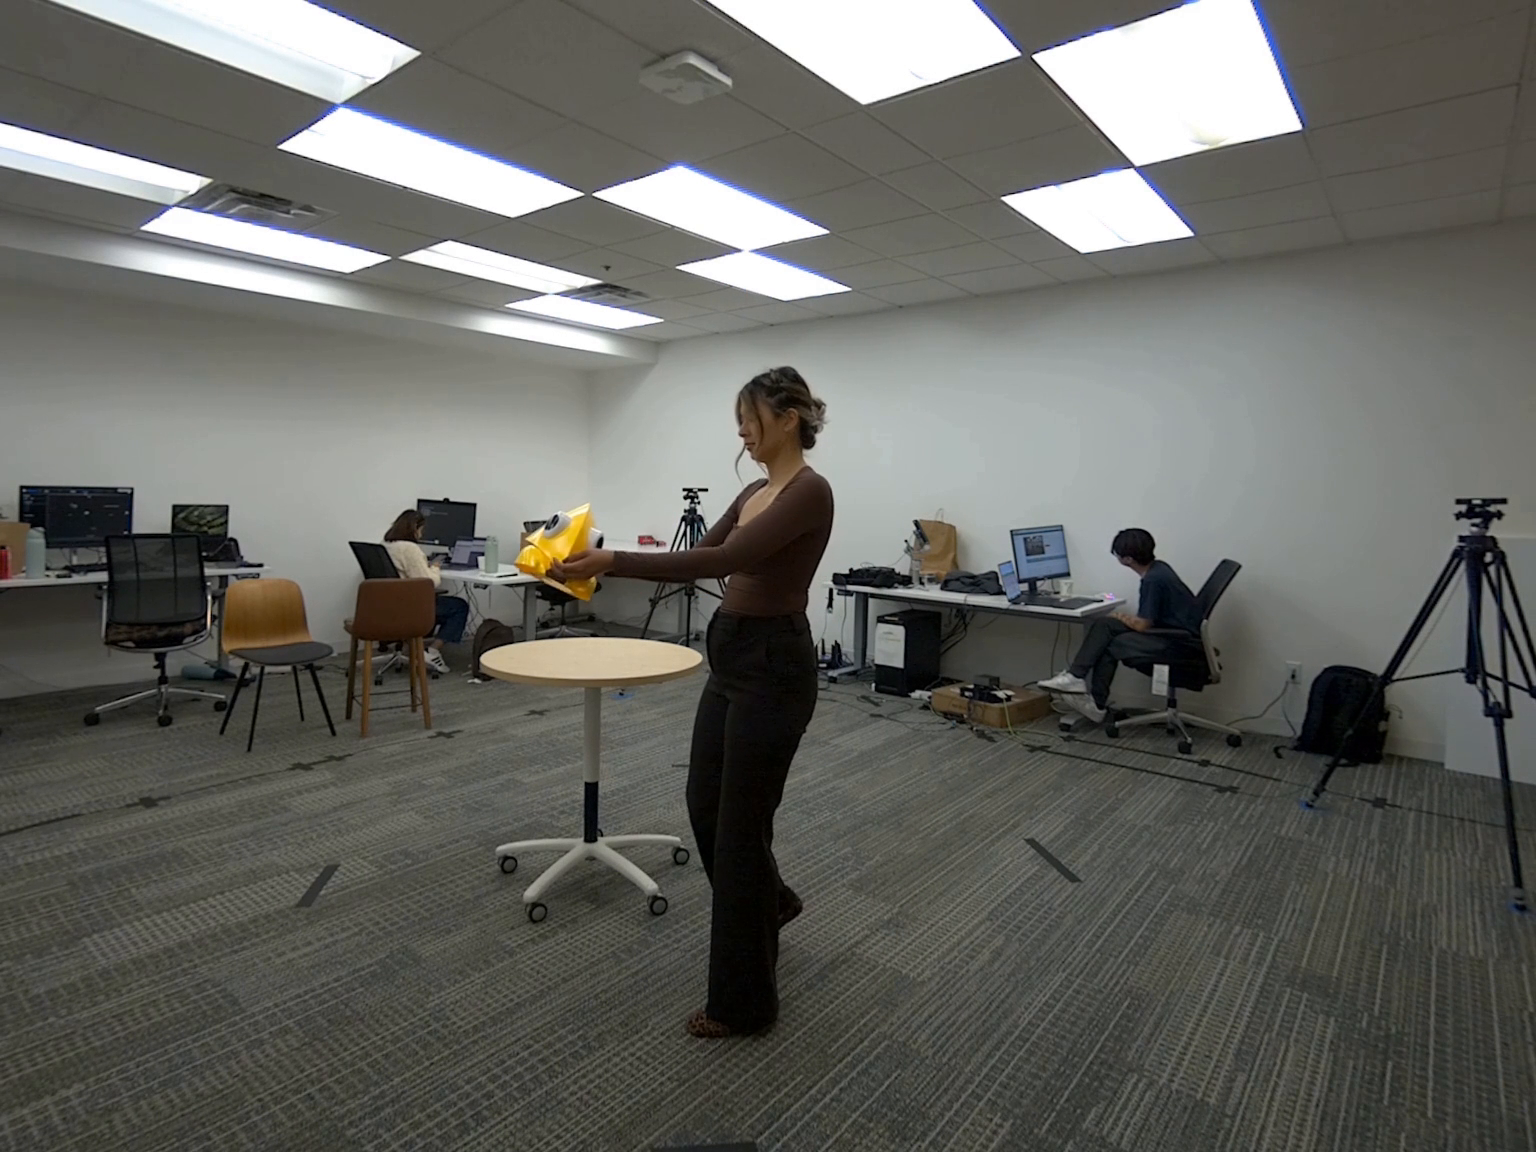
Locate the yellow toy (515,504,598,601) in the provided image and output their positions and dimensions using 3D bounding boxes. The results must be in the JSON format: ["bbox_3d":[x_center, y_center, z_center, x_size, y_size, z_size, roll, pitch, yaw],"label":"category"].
[{"bbox_3d":[-0.491,-0.090,2.111,0.201,0.232,0.195,27,-14,-15],"label":"yellow toy"}]
